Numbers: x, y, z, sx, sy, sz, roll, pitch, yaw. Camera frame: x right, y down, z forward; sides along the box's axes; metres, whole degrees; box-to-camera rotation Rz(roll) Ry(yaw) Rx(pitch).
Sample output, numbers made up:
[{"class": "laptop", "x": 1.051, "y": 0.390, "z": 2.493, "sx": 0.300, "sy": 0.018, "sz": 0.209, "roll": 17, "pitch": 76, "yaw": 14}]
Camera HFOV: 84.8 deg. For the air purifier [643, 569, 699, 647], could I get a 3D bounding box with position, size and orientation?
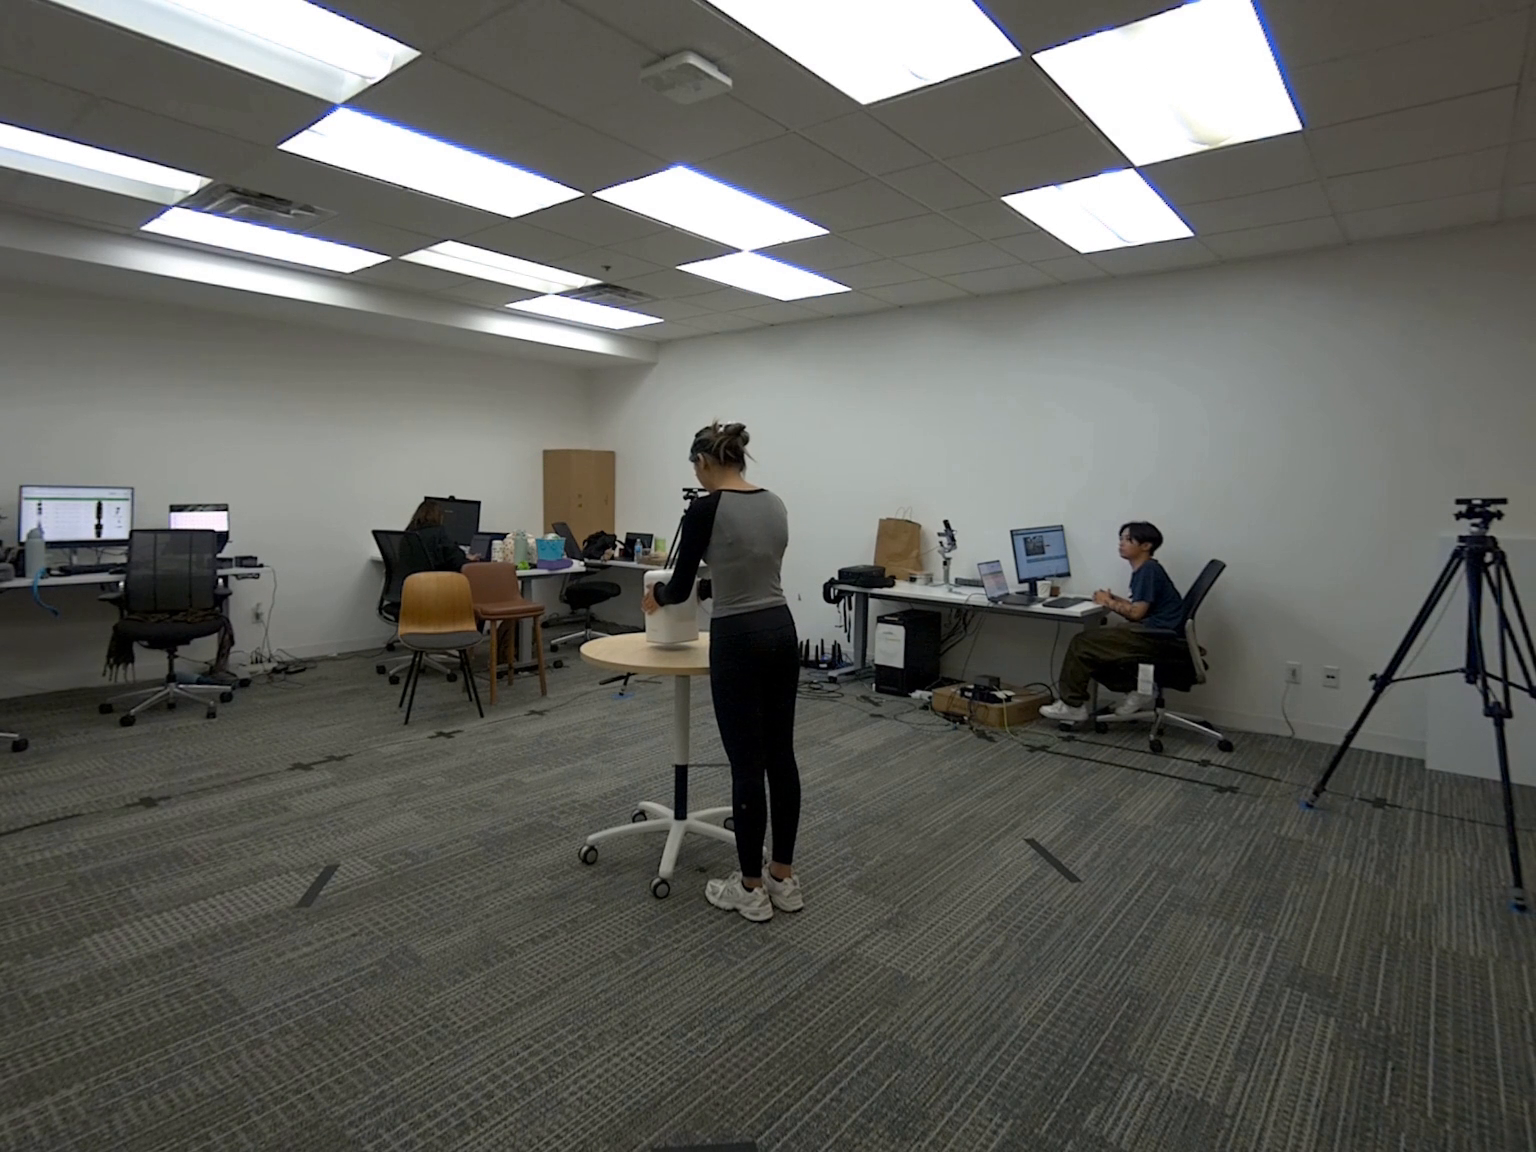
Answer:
[{"class": "air purifier", "x": -0.372, "y": 0.107, "z": 3.190, "sx": 0.176, "sy": 0.265, "sz": 0.166, "roll": 0, "pitch": 4, "yaw": 45}]
